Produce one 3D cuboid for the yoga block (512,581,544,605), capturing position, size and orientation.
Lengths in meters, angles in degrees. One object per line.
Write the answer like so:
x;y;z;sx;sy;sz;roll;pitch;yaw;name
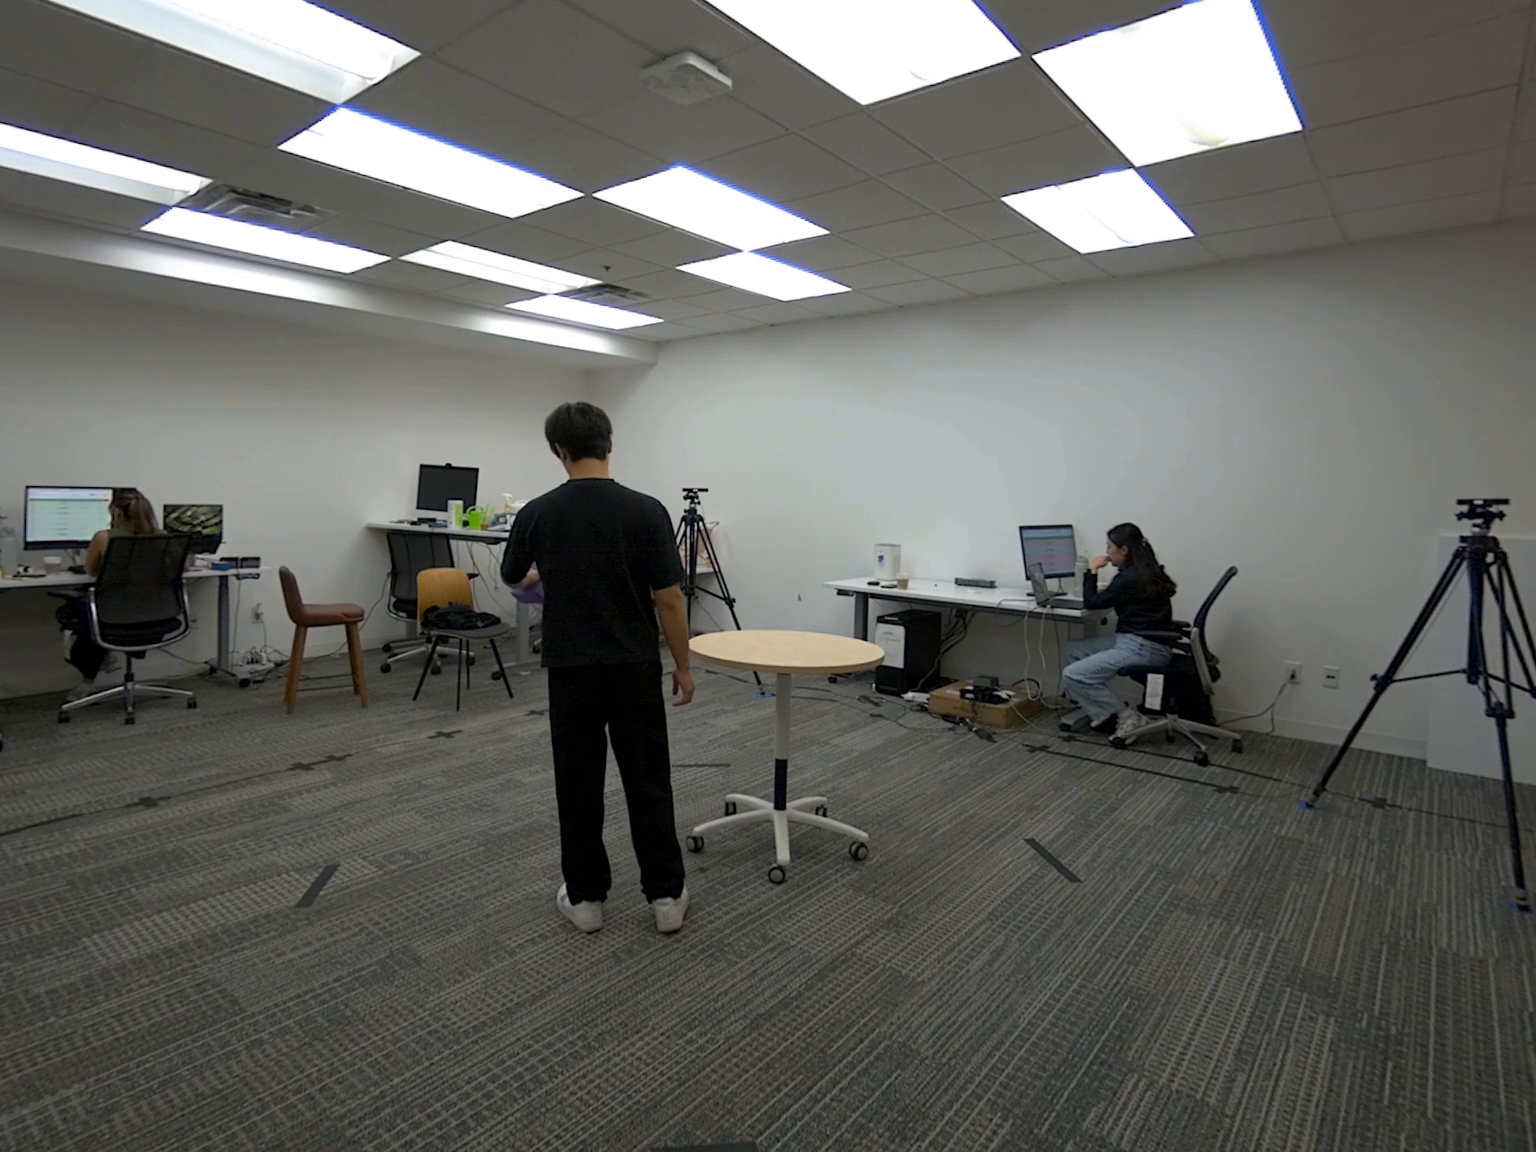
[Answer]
-0.854;-0.010;3.205;0.153;0.232;0.073;-1;-37;34;yoga block
